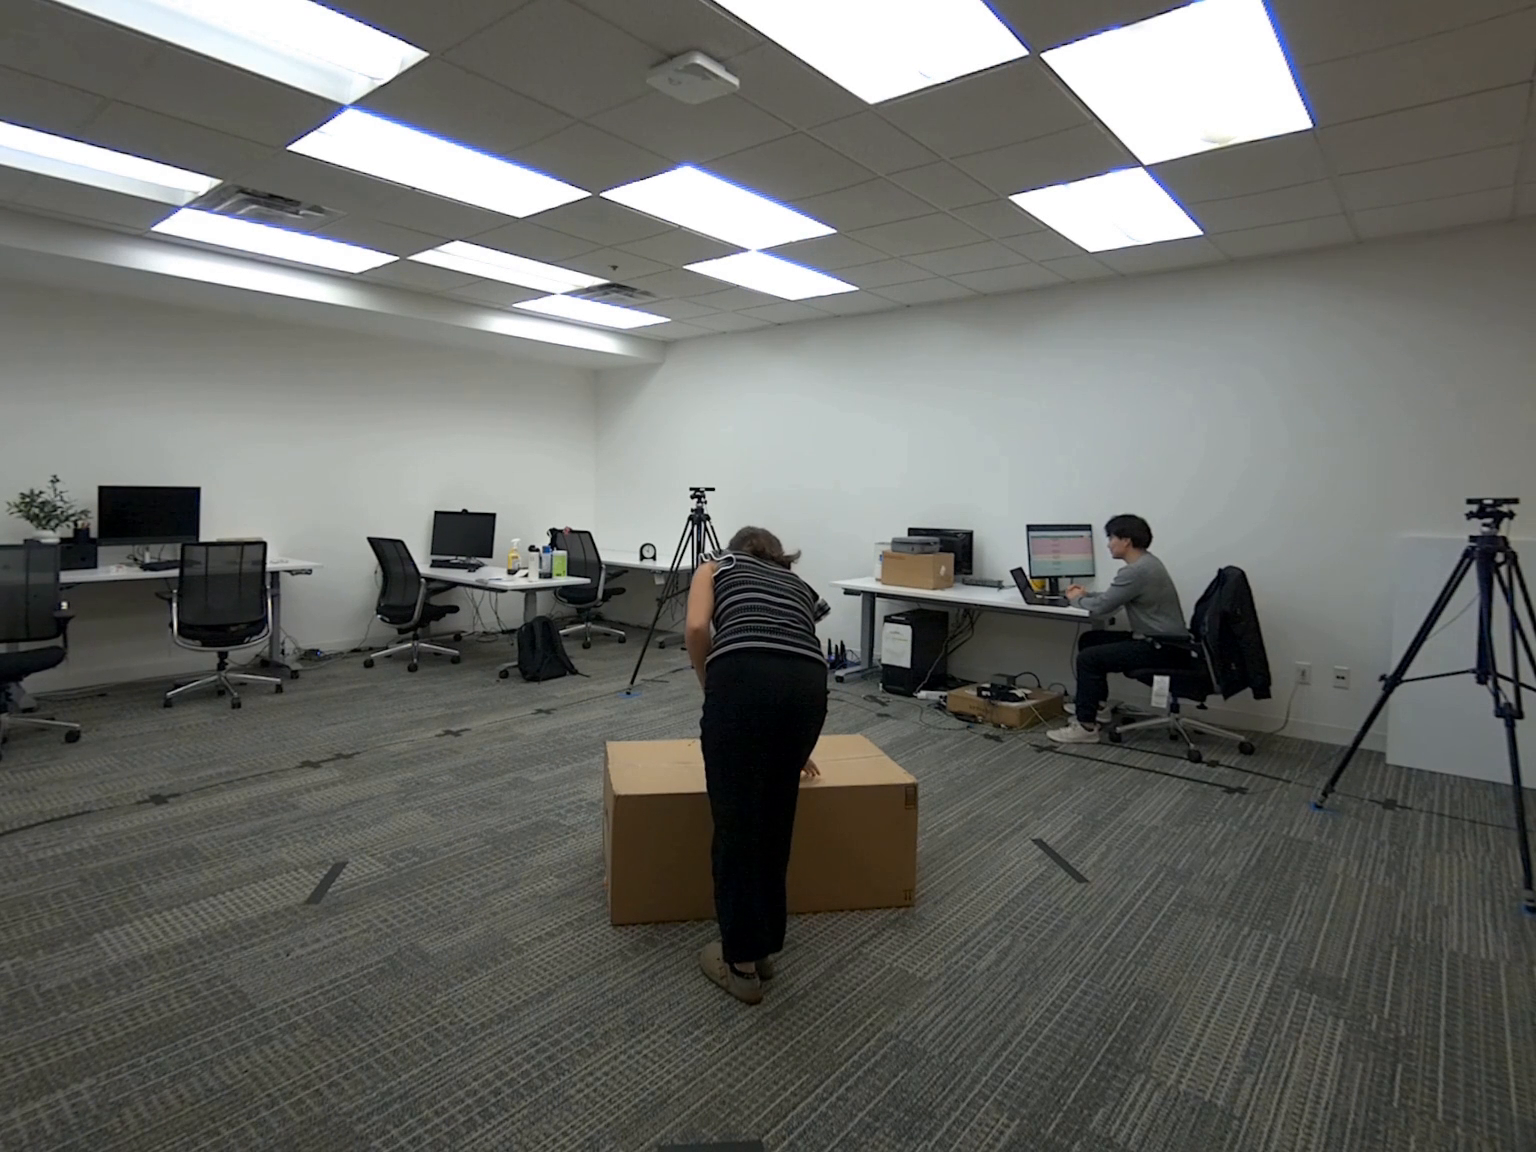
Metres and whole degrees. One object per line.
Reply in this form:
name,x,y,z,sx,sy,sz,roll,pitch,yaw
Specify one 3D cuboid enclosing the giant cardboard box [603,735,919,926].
giant cardboard box,-0.070,0.865,3.039,1.014,0.425,0.586,0,5,-11
